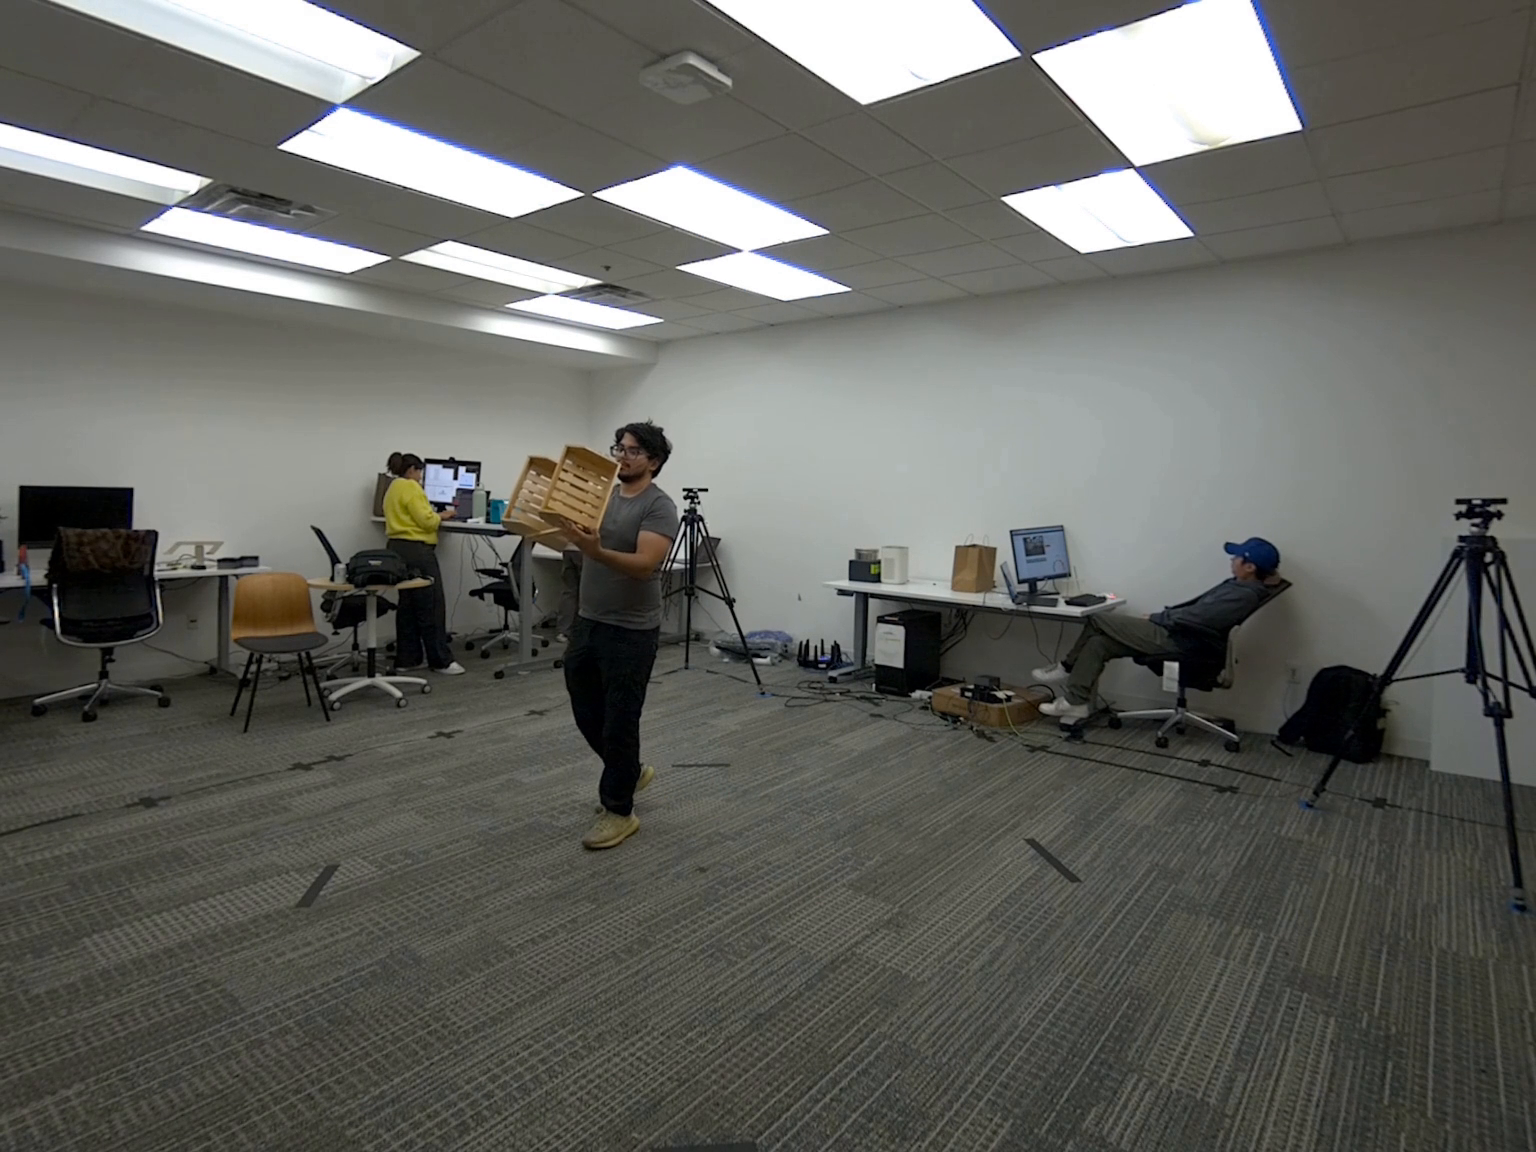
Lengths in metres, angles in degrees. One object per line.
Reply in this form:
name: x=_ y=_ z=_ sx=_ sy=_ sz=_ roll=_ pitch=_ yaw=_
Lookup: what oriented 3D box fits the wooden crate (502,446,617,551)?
wooden crate: x=-0.770 y=-0.302 z=3.088 sx=0.295 sy=0.330 sz=0.275 roll=25 pitch=-32 yaw=-19
